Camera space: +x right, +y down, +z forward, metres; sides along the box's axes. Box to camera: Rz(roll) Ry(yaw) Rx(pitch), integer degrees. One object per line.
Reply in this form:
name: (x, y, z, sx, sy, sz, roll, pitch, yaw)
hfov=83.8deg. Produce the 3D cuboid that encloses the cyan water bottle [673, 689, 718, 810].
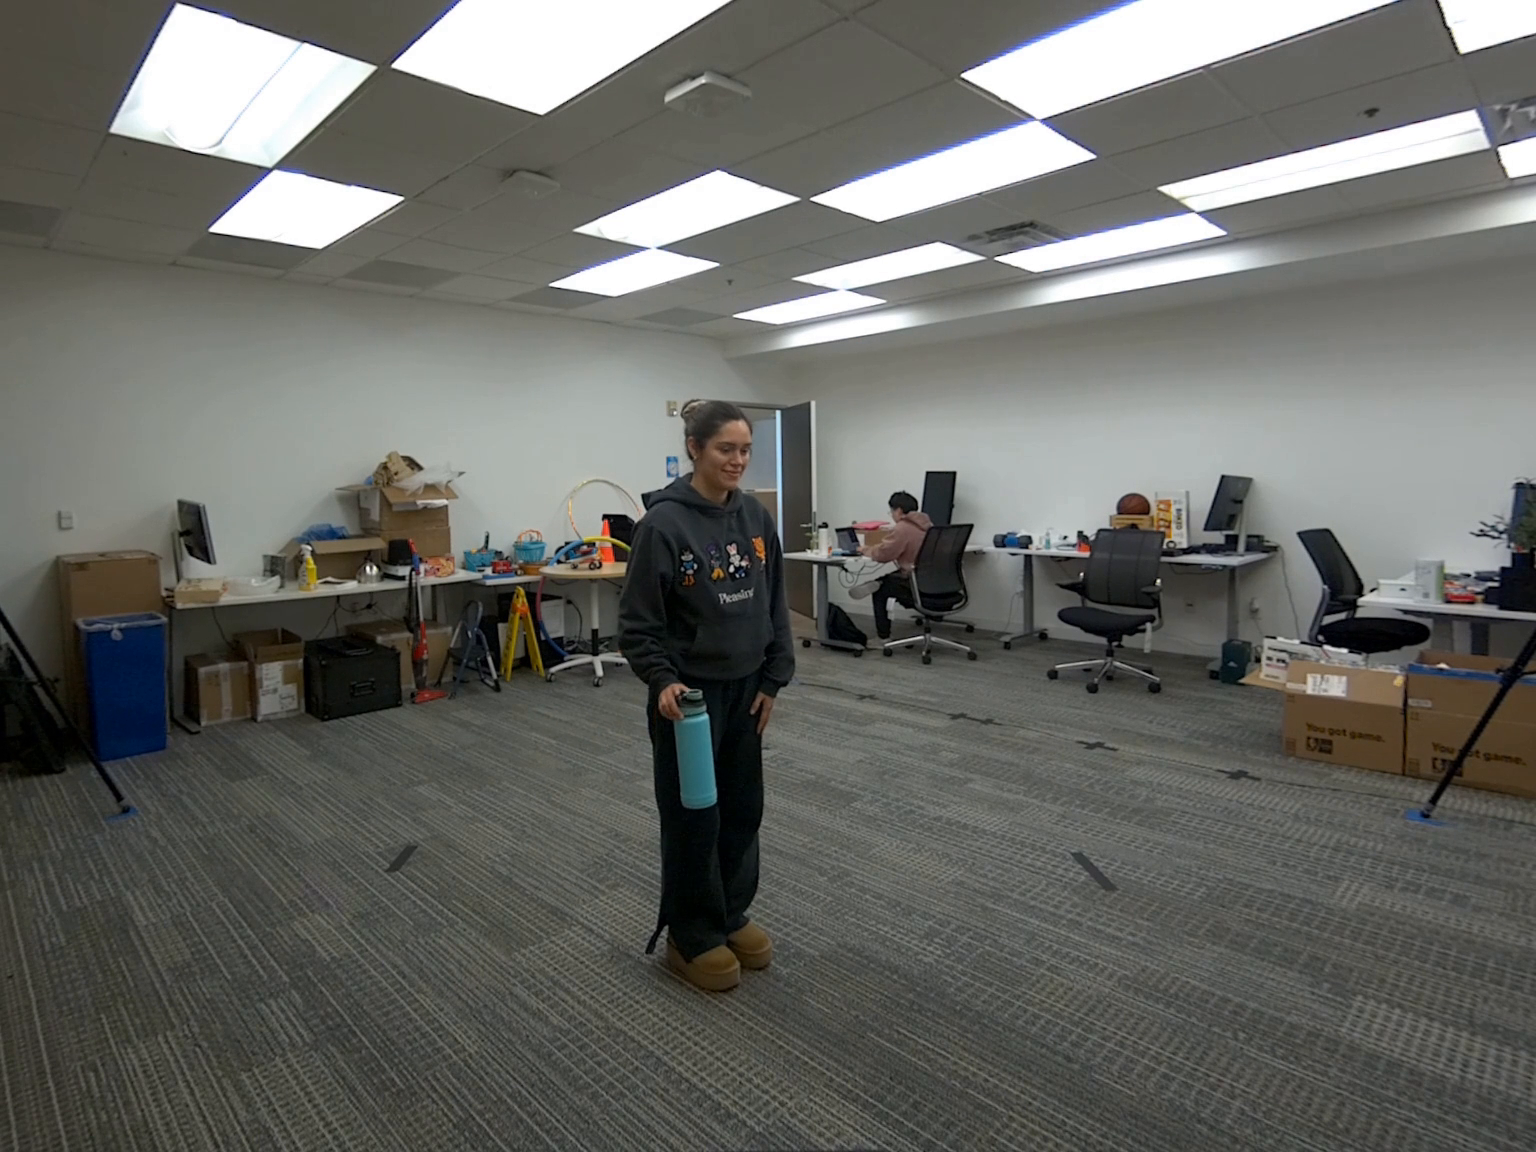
cyan water bottle: (-0.179, 0.429, 2.125, 0.092, 0.283, 0.092, -3, 2, -1)
